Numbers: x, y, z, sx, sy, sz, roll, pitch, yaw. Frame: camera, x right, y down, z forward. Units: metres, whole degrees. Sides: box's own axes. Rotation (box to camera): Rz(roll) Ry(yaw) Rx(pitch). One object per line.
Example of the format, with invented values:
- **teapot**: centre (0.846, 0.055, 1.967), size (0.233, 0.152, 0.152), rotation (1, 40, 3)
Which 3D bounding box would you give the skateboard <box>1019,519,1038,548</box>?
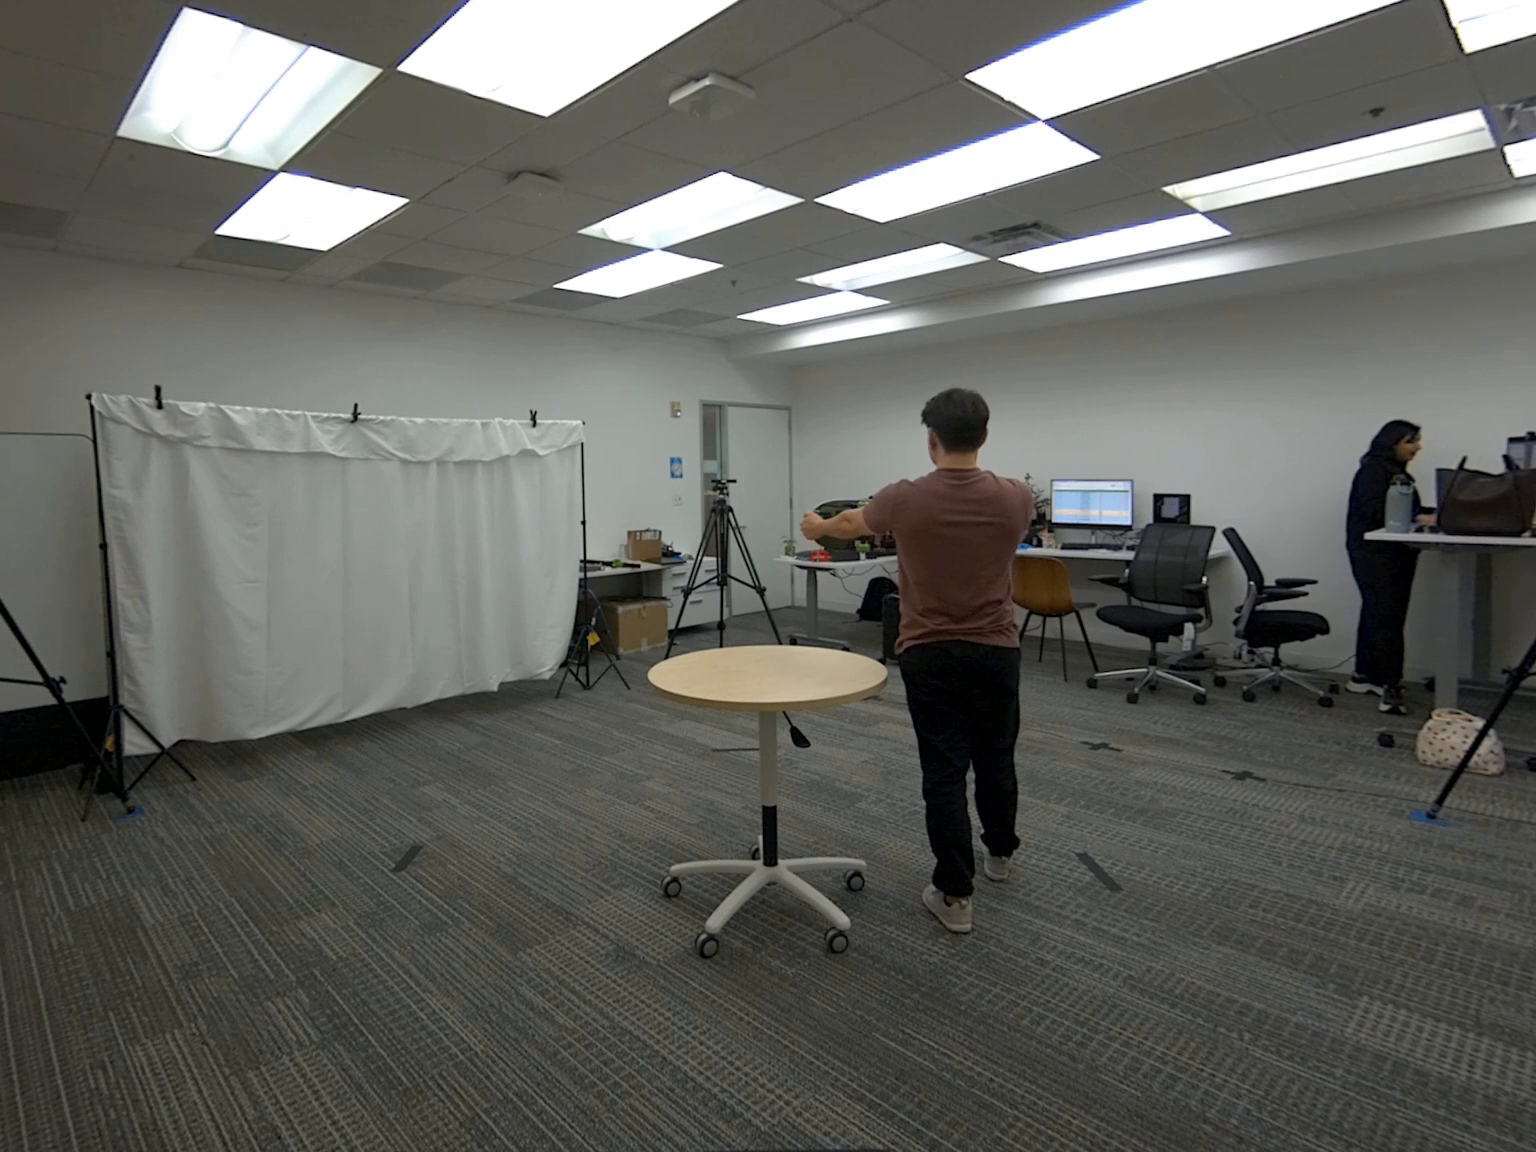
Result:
- **skateboard**: centre (0.550, -0.187, 3.161), size (0.784, 0.192, 0.111), rotation (0, 10, -2)
